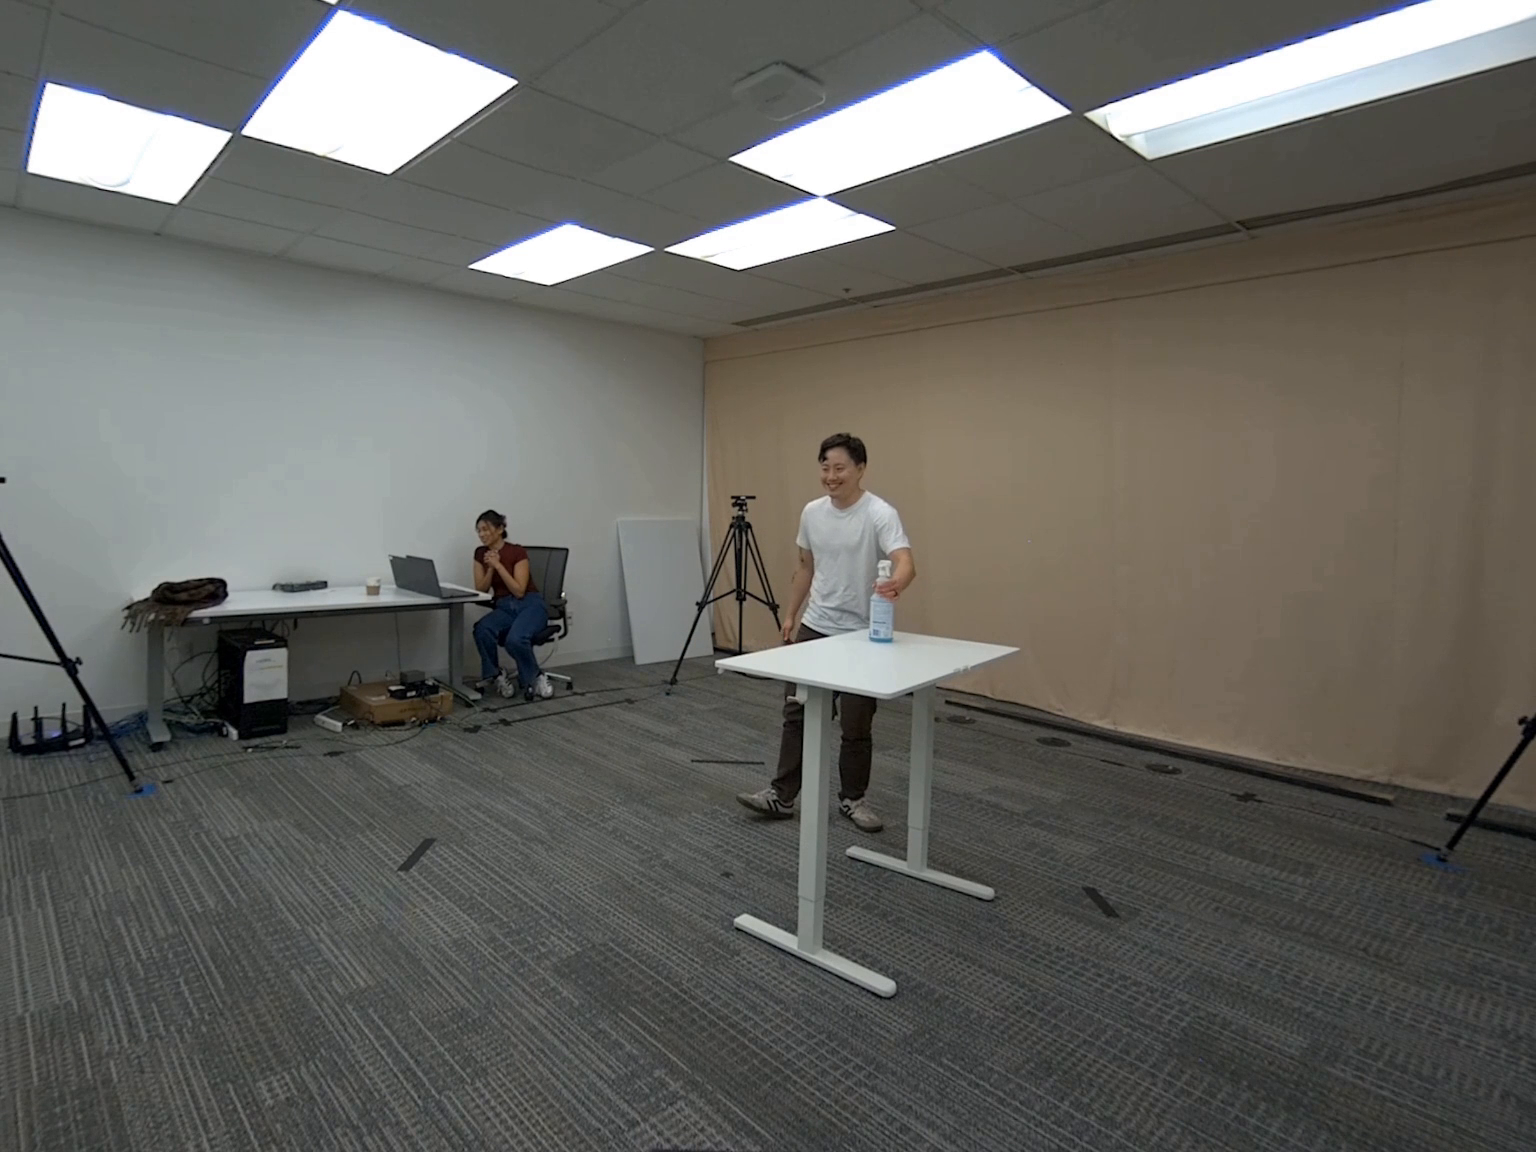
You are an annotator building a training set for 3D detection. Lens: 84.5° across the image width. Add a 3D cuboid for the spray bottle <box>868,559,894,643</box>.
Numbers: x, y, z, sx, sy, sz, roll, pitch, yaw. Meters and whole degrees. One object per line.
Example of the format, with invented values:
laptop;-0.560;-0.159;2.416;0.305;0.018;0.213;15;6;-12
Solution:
spray bottle;0.404;0.093;3.066;0.088;0.297;0.089;1;3;12
